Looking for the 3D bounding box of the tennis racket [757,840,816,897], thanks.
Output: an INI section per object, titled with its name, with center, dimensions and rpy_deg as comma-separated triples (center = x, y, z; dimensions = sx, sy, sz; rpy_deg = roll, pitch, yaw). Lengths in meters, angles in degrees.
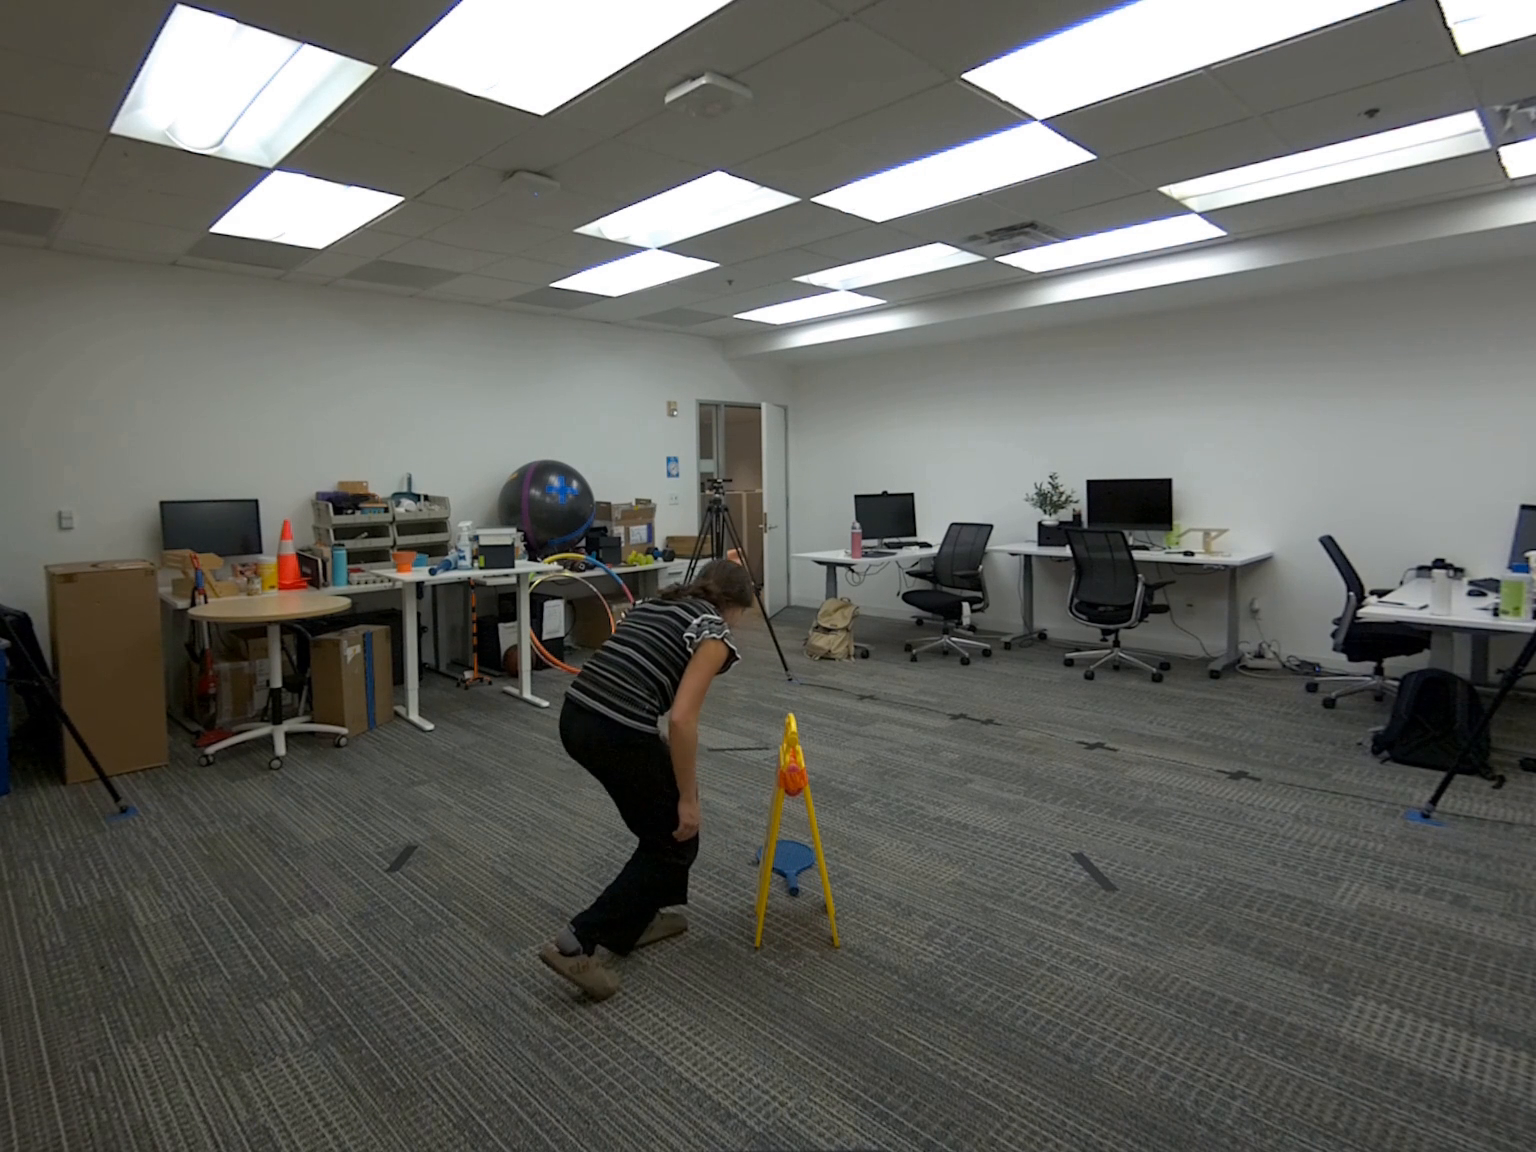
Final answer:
[tennis racket]
center = 0.070, 1.032, 3.067
dimensions = 0.214, 0.031, 0.434
rpy_deg = -1, 5, -1
